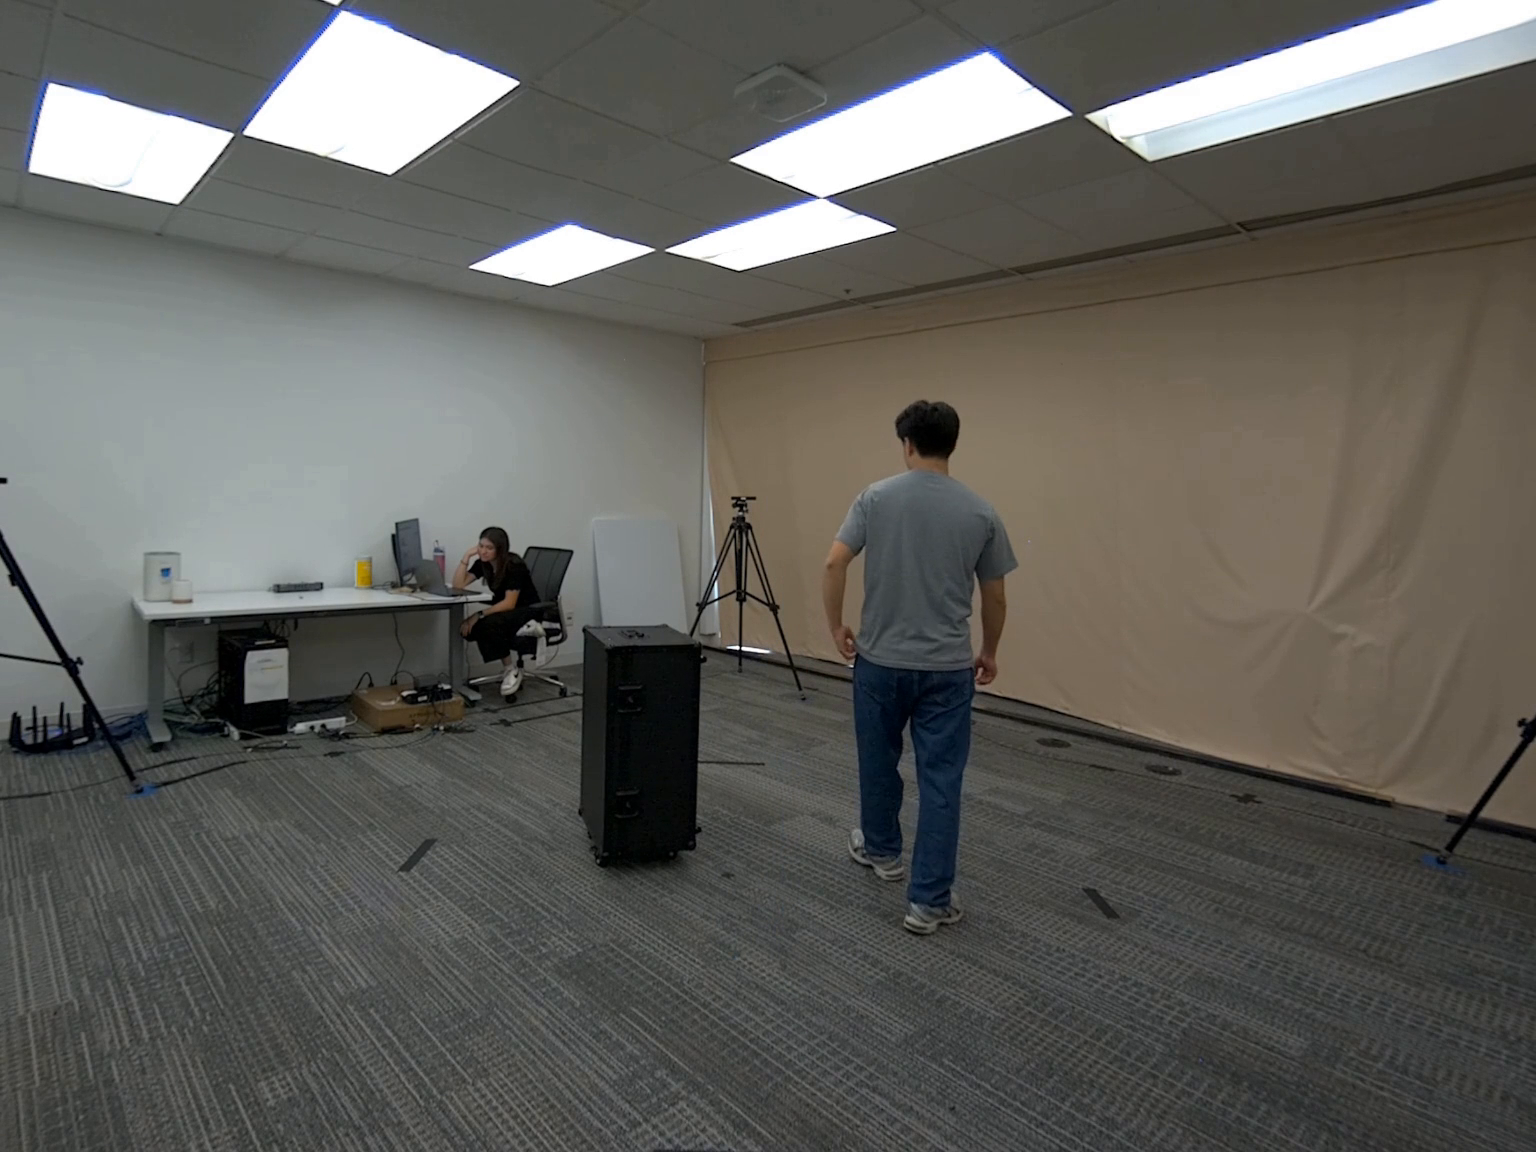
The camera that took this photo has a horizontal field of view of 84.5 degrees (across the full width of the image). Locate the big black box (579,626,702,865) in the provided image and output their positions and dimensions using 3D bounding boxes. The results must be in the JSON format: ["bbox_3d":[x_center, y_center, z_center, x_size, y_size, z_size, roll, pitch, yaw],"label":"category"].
[{"bbox_3d":[-0.516,0.653,3.317,0.390,0.860,0.531,2,3,-22],"label":"big black box"}]
